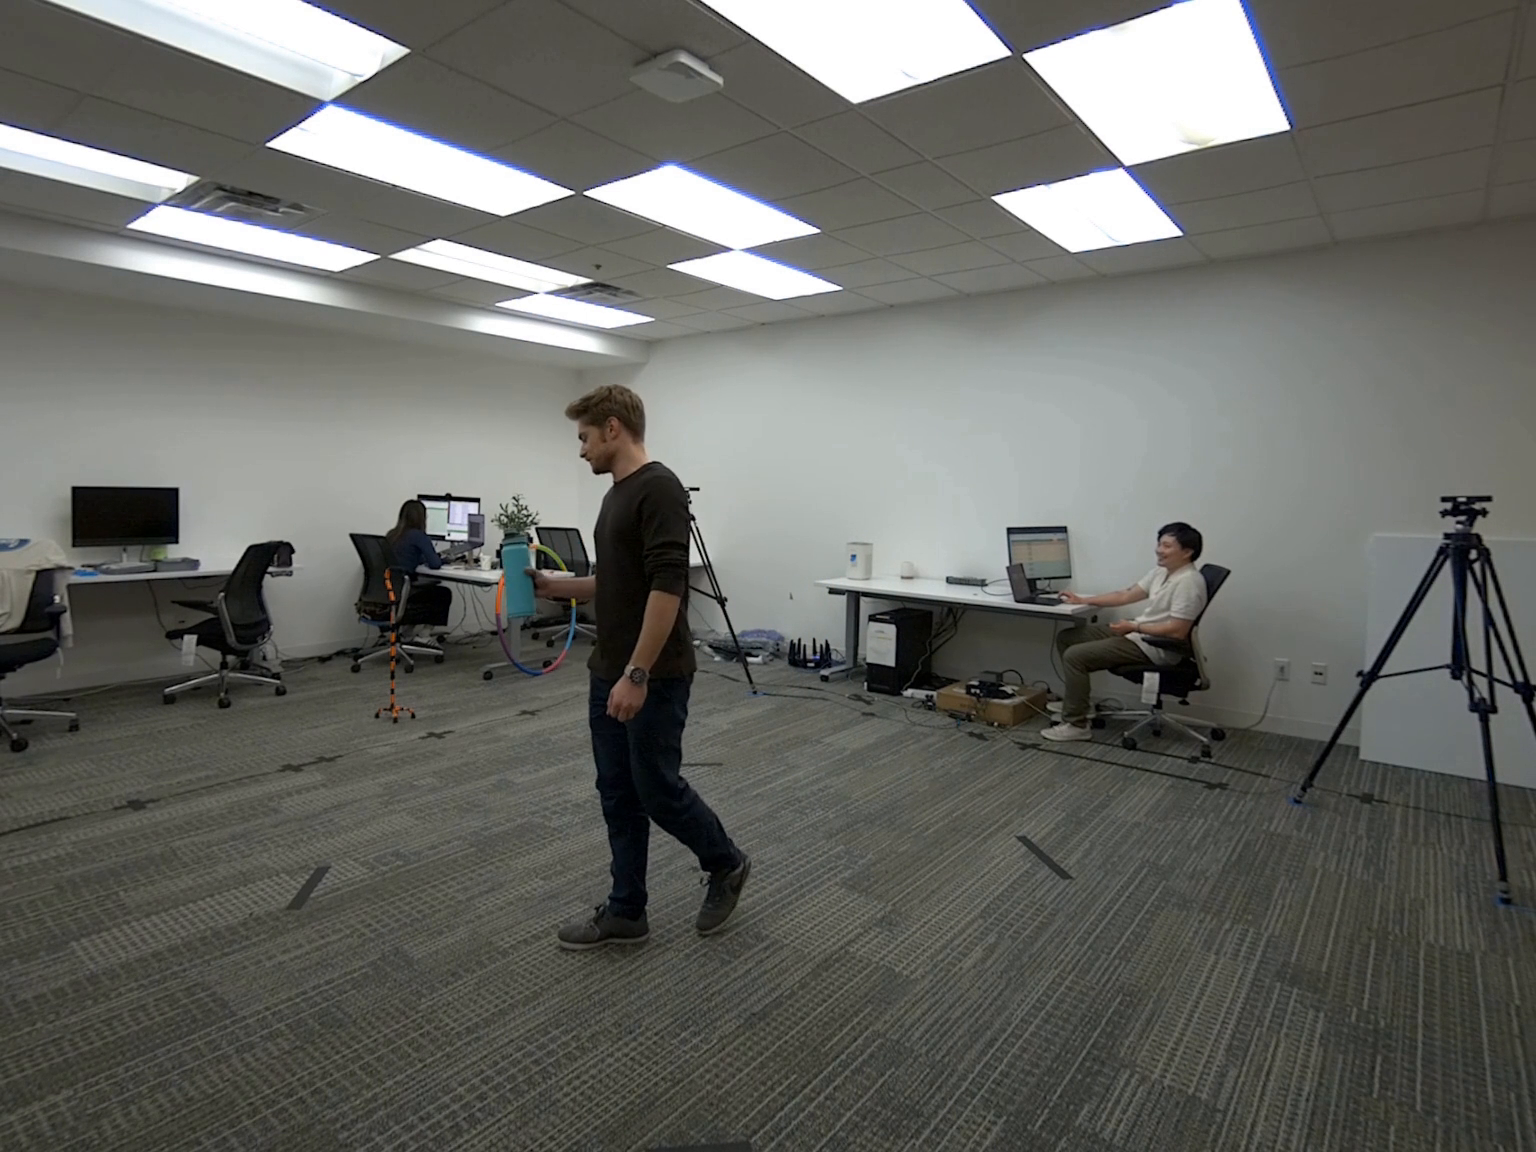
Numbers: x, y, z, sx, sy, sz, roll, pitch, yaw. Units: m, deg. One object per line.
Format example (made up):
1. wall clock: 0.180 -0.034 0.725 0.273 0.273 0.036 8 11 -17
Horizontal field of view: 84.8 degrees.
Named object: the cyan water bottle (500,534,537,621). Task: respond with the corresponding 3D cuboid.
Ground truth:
1. cyan water bottle: -0.805 -0.016 2.729 0.092 0.285 0.092 -7 -4 -2
